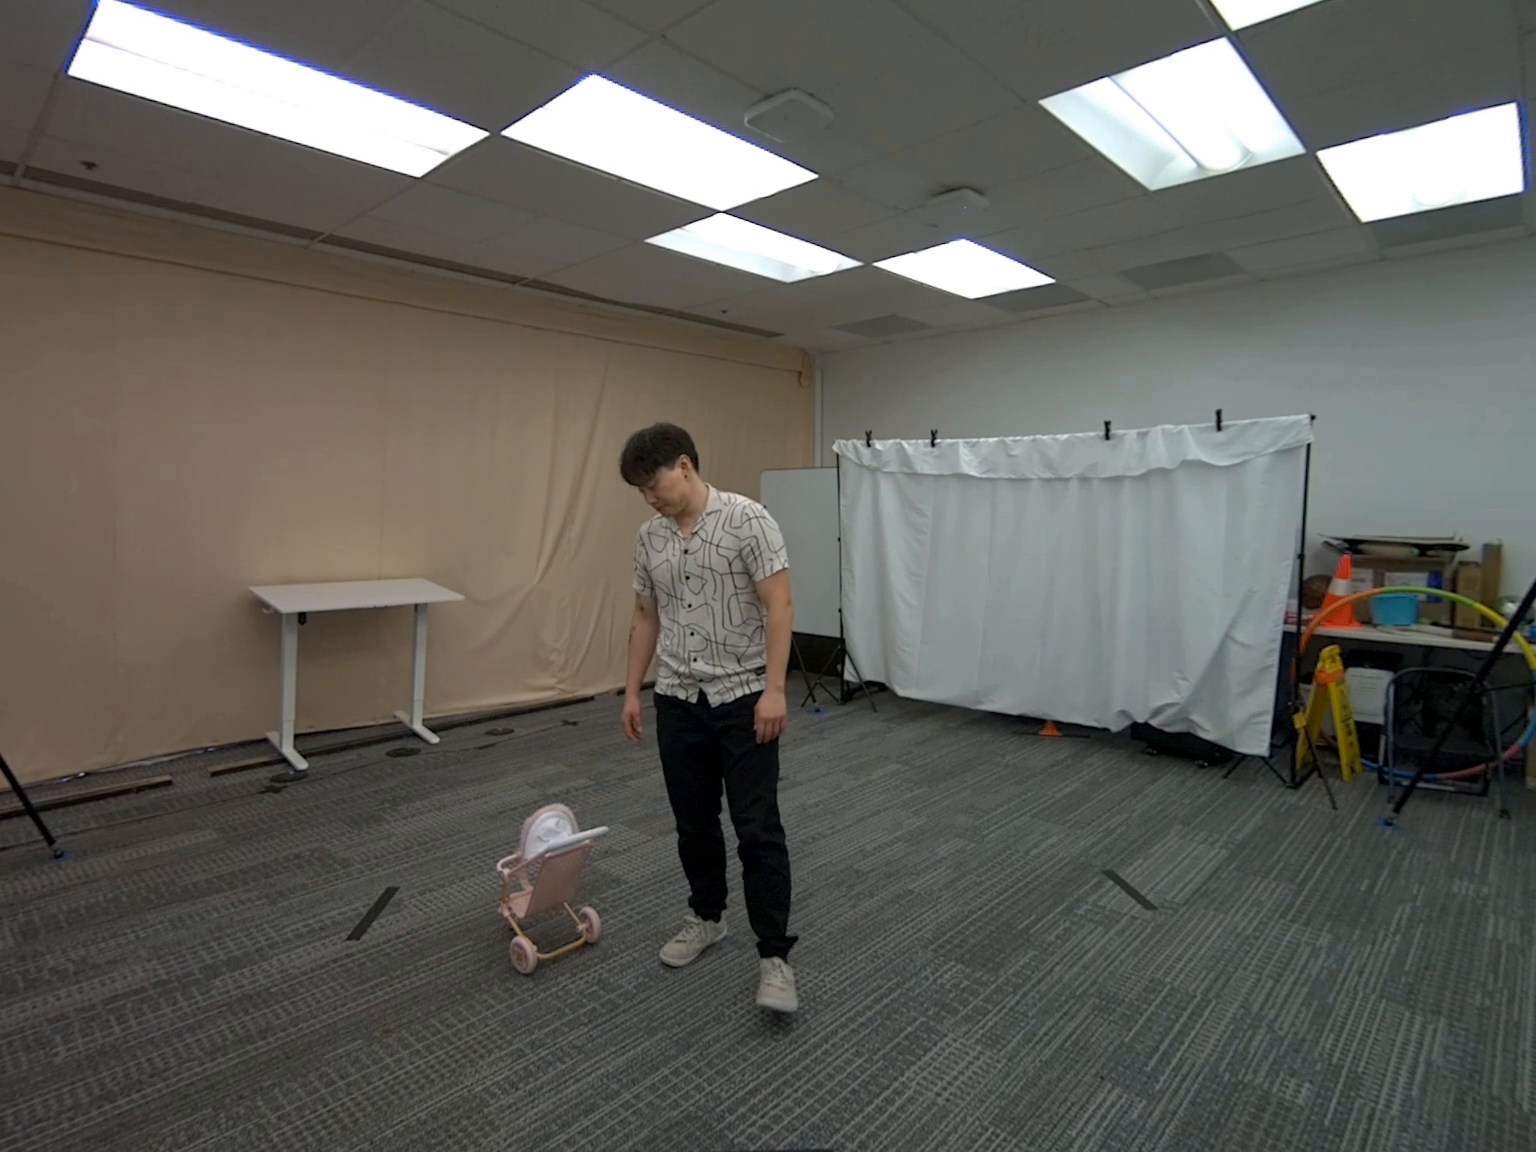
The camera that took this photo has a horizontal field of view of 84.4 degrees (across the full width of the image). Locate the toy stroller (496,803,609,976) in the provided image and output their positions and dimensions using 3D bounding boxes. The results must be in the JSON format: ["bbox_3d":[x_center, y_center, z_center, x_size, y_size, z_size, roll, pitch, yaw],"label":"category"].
[{"bbox_3d":[-0.698,0.954,2.643,0.273,0.532,0.354,-2,19,-43],"label":"toy stroller"}]
